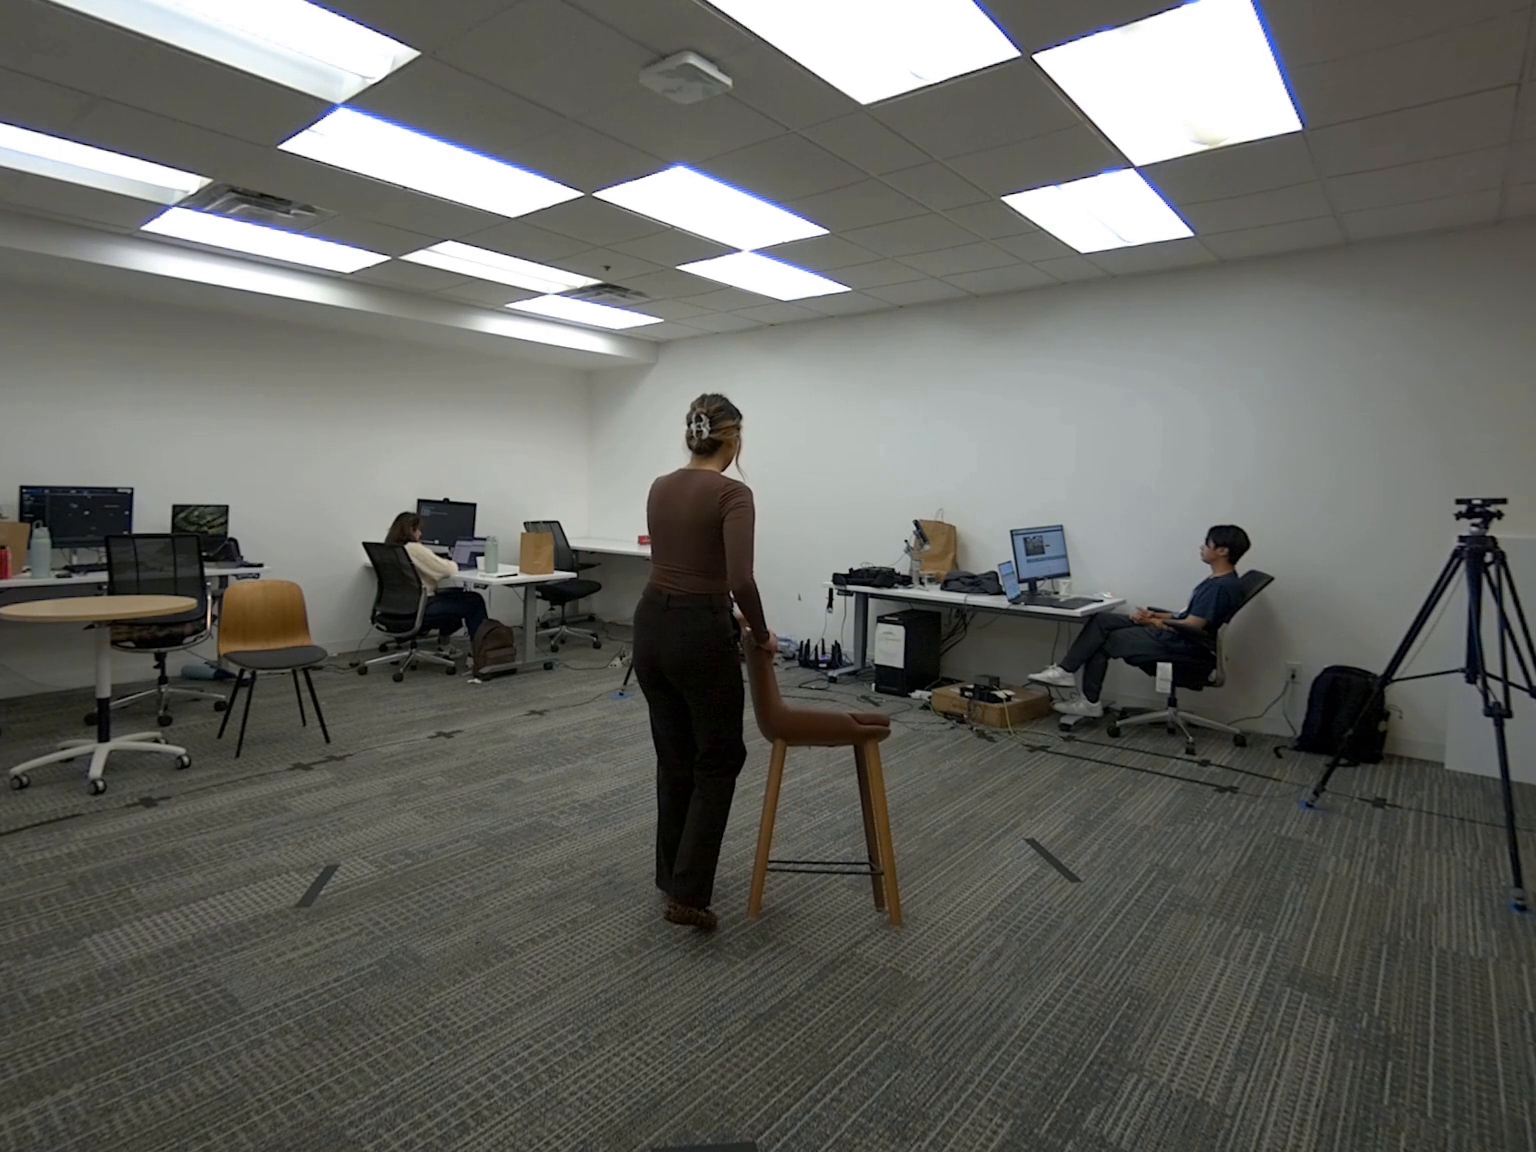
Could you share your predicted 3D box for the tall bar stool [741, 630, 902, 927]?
[{"bbox_3d":[0.162,0.639,2.796,0.469,0.904,0.448,-2,-16,2],"label":"tall bar stool"}]
